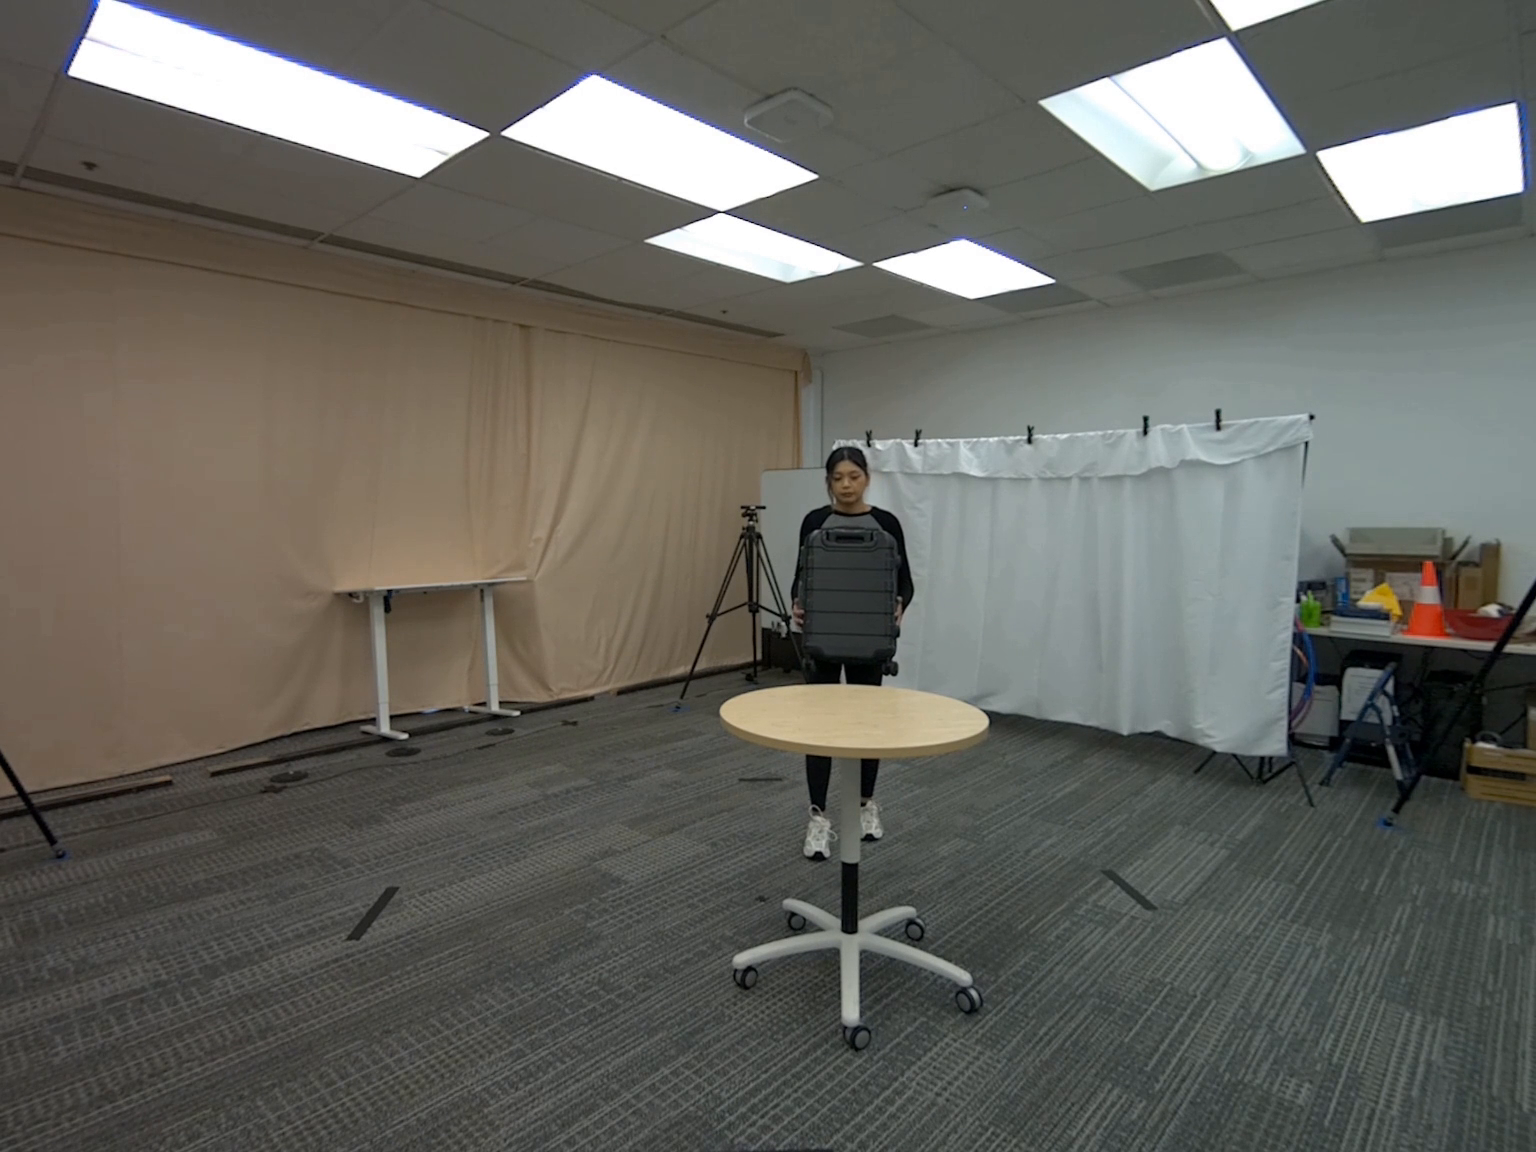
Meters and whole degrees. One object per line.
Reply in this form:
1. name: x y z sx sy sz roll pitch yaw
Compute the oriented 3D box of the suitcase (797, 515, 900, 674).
1. suitcase: 0.309 0.090 3.215 0.380 0.551 0.244 0 -5 11
